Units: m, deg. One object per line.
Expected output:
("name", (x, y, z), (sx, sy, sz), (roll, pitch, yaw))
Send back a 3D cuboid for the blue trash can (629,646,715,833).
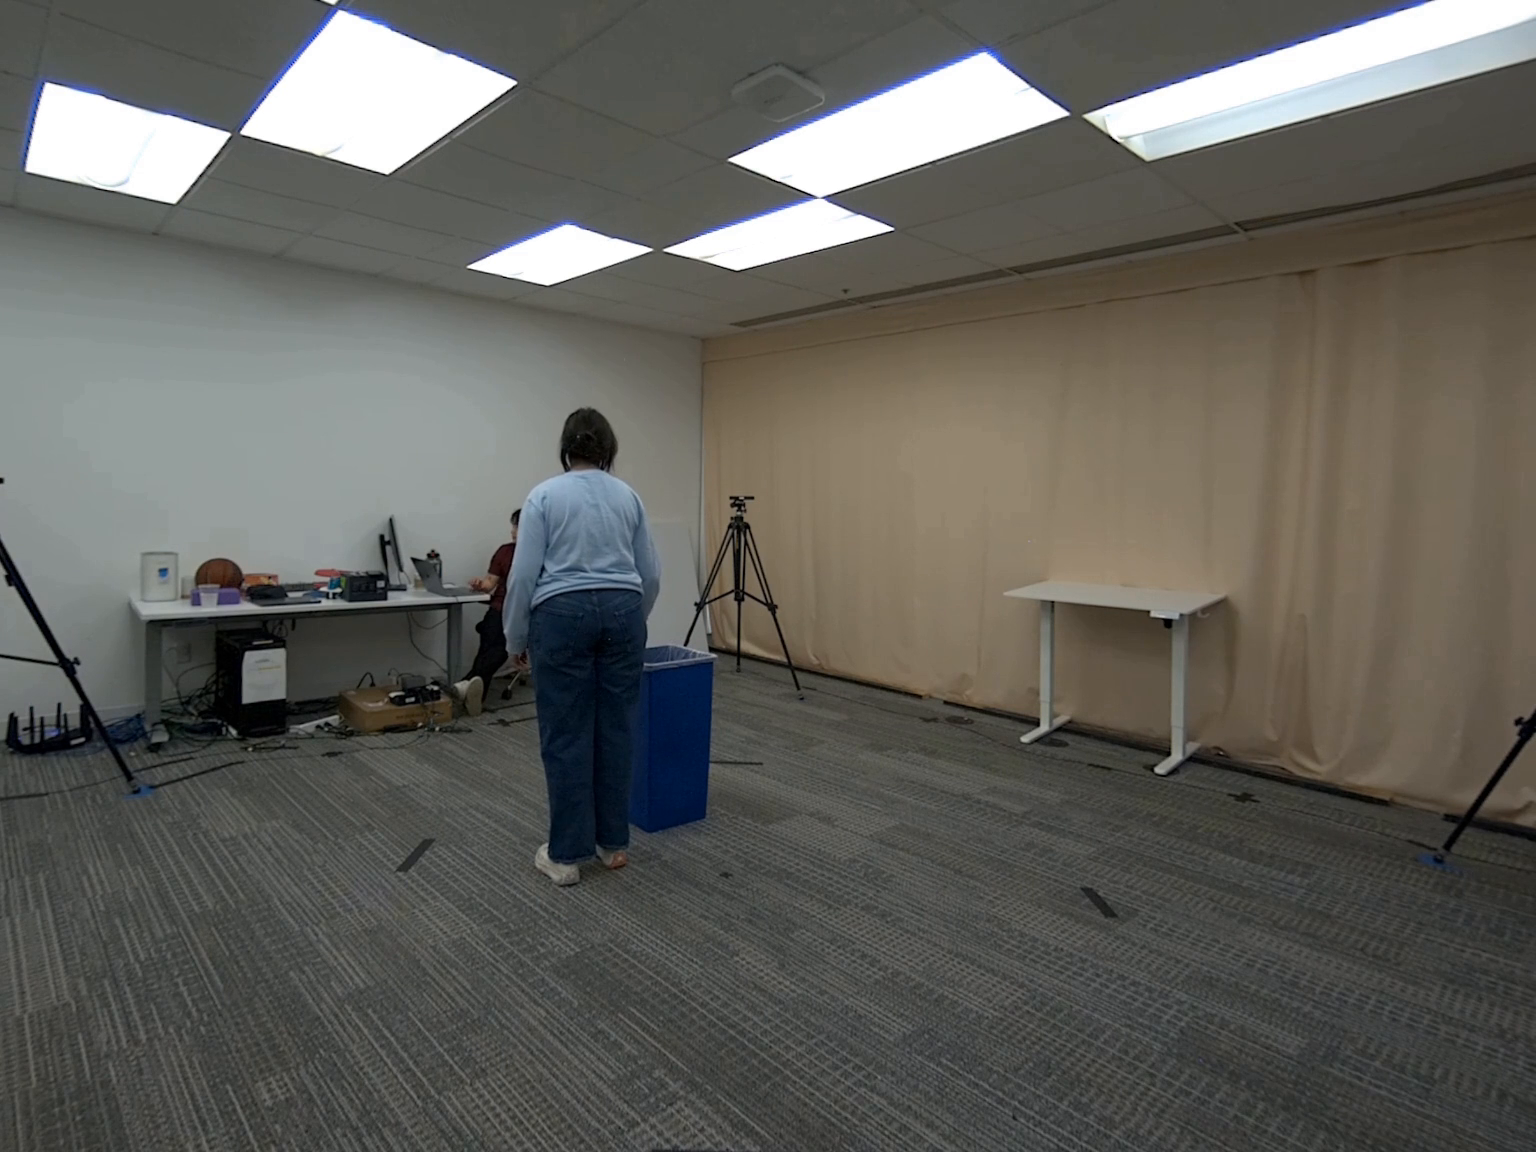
("blue trash can", (-0.478, 0.691, 3.659), (0.365, 0.712, 0.387), (-2, 4, -41))
